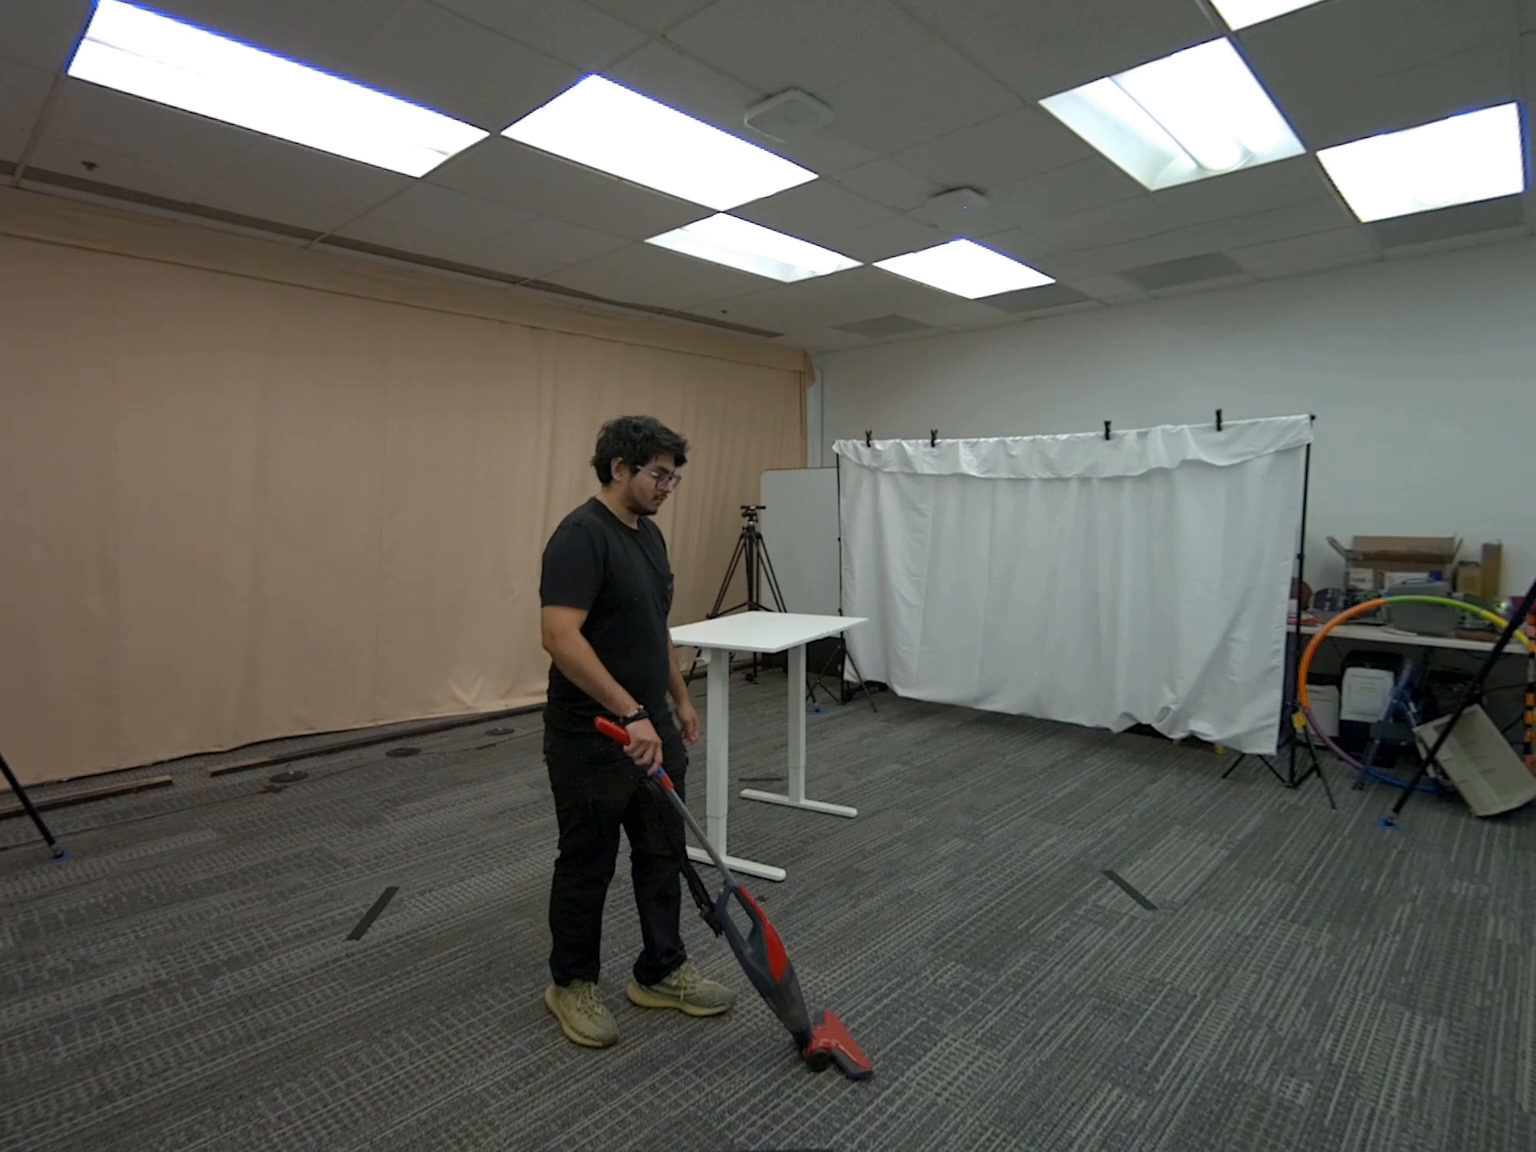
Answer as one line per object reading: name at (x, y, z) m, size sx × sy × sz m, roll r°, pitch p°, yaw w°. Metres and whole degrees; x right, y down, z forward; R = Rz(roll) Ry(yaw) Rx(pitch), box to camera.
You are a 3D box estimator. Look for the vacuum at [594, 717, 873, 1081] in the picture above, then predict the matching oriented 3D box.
vacuum at (-0.110, 0.781, 2.041) m, size 0.143 × 1.035 × 0.258 m, roll -35°, pitch 12°, yaw -14°
